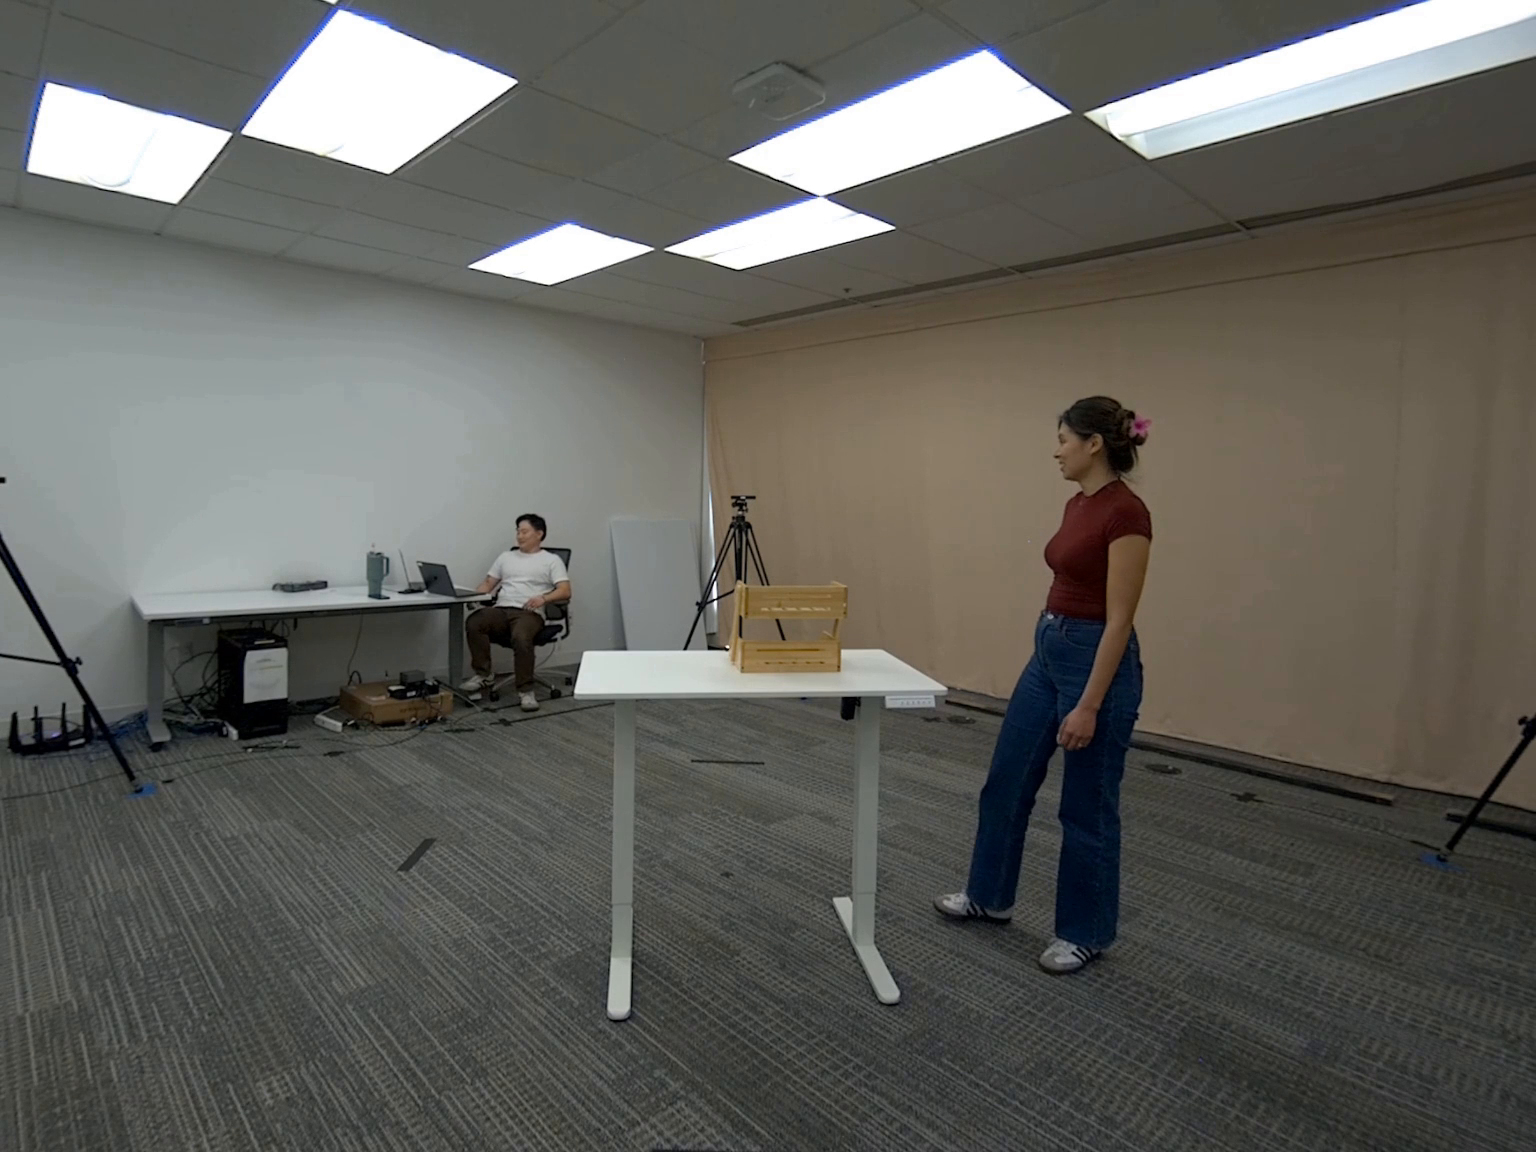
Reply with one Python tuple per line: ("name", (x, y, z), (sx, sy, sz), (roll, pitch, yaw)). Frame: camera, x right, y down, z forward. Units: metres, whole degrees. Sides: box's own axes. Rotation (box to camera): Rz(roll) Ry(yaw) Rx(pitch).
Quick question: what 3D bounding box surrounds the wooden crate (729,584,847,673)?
("wooden crate", (0.052, 0.141, 2.566), (0.322, 0.272, 0.306), (0, 6, -11))
